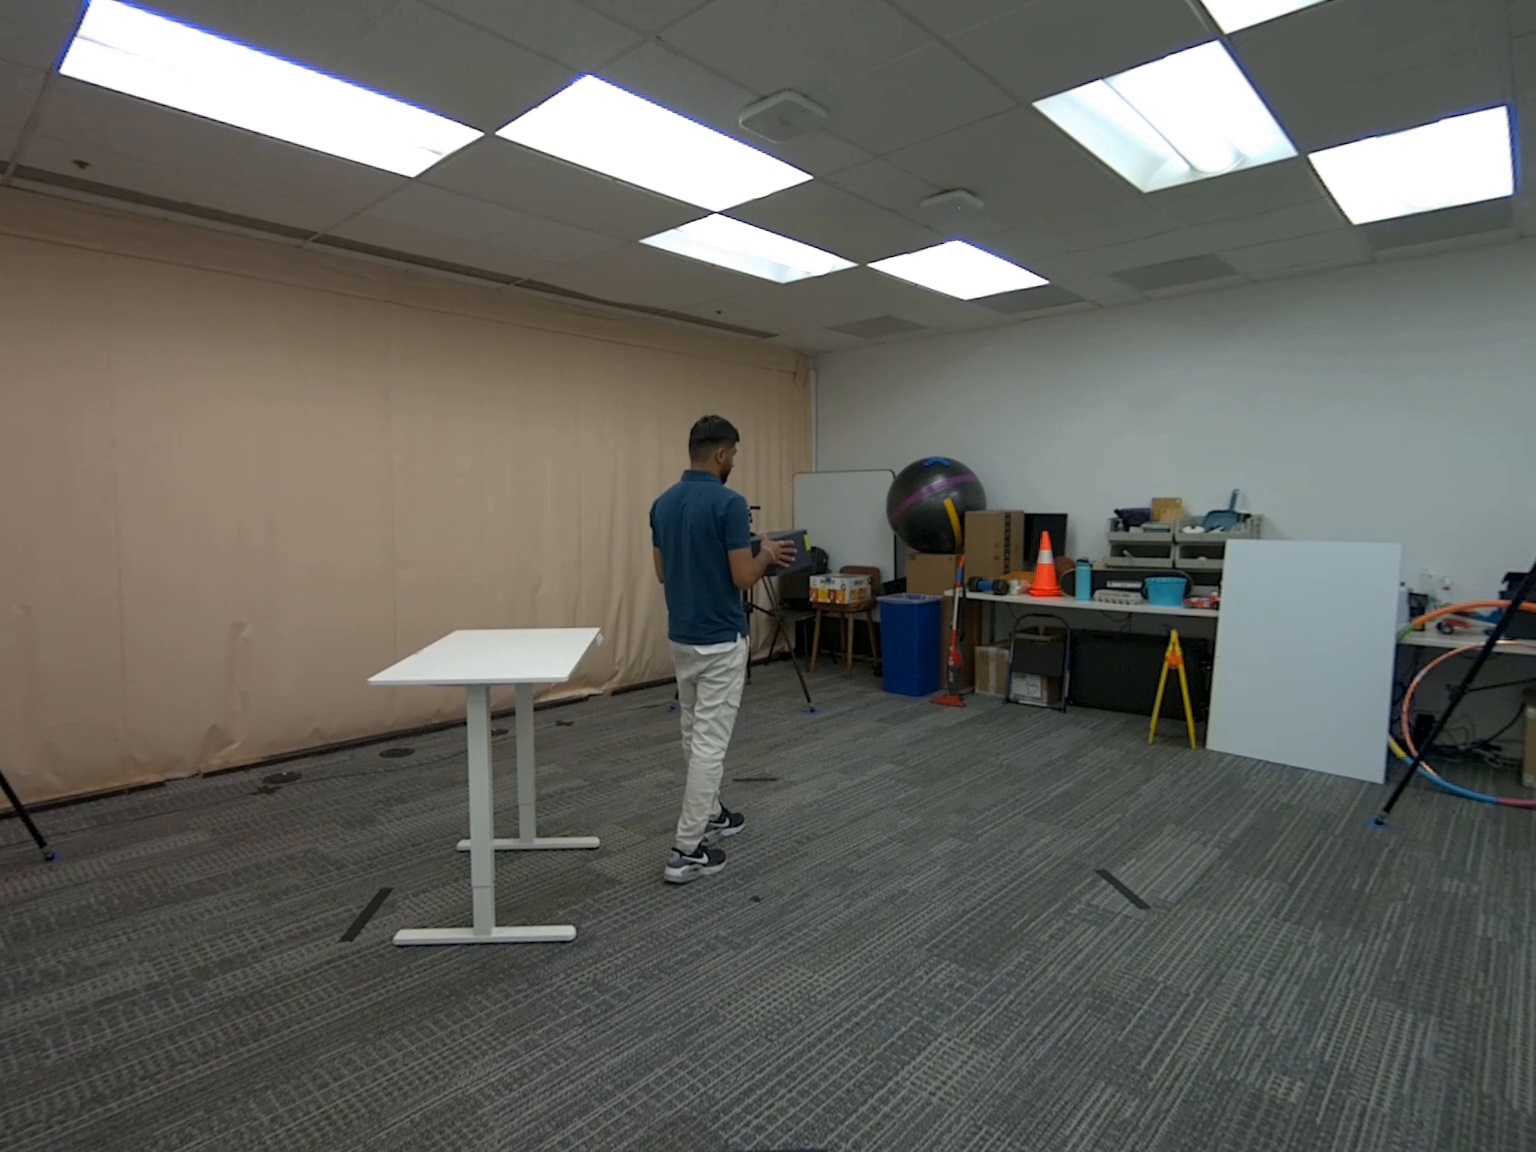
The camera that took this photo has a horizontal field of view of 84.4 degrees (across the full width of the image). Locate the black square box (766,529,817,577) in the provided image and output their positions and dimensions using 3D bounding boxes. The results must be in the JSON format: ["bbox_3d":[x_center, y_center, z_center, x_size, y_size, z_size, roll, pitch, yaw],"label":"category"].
[{"bbox_3d":[0.036,-0.101,3.570,0.212,0.155,0.234,-15,9,-33],"label":"black square box"}]
